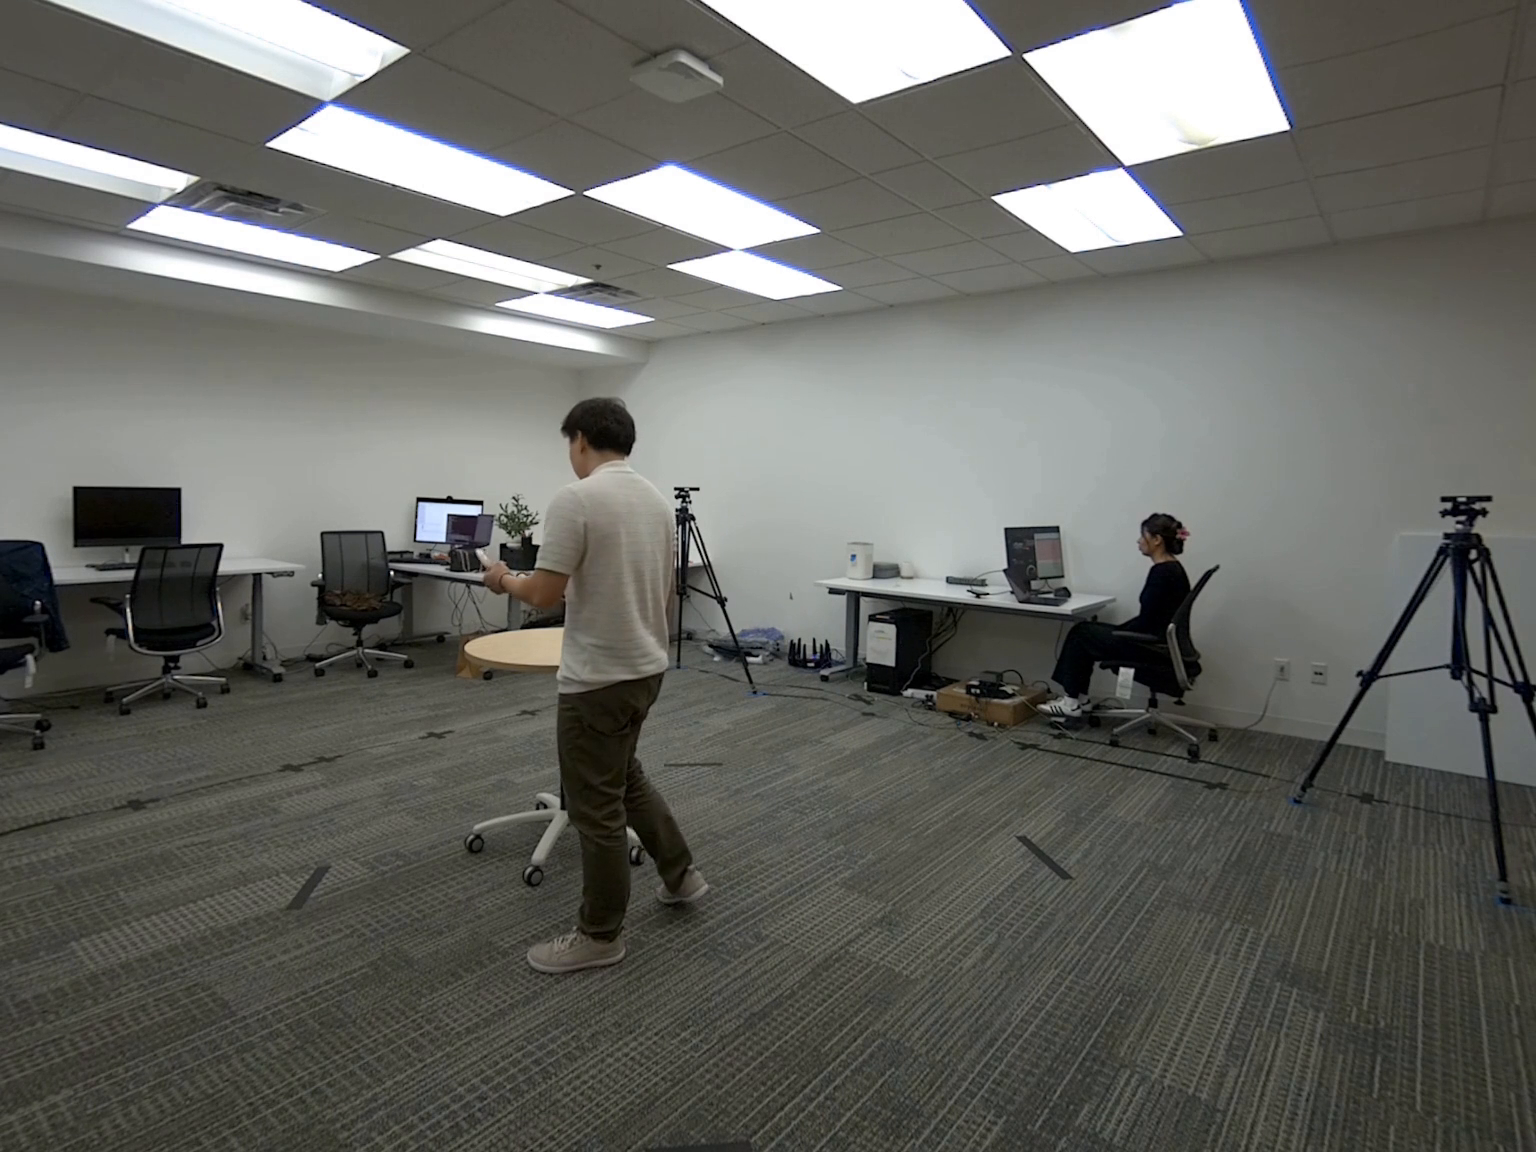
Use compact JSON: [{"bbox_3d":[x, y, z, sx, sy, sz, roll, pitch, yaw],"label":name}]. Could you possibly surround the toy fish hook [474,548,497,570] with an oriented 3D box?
[{"bbox_3d":[-0.848,-0.017,2.803,0.221,0.048,0.514,46,-9,-12],"label":"toy fish hook"}]
